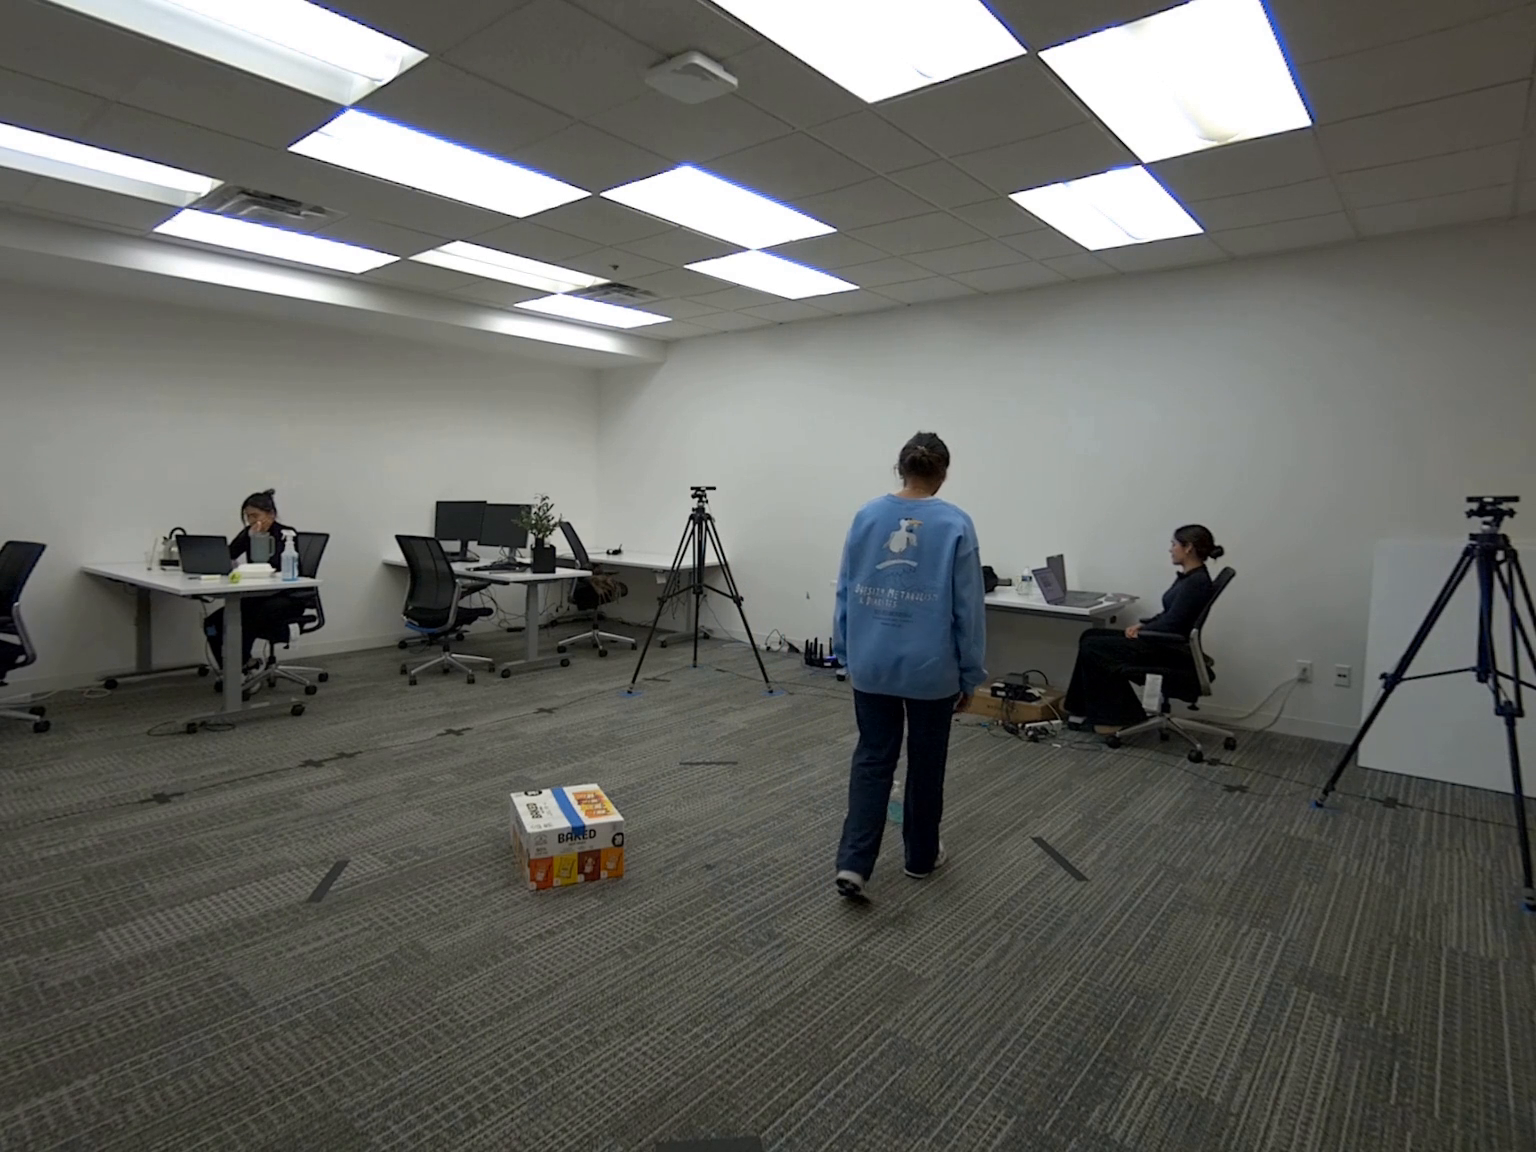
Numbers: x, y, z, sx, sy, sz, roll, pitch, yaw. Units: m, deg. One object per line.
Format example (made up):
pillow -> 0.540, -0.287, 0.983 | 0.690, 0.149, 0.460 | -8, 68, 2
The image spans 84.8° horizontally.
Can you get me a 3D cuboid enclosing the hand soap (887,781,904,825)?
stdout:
hand soap -> 0.532, 0.943, 3.587 | 0.087, 0.167, 0.042 | 5, 5, 39
